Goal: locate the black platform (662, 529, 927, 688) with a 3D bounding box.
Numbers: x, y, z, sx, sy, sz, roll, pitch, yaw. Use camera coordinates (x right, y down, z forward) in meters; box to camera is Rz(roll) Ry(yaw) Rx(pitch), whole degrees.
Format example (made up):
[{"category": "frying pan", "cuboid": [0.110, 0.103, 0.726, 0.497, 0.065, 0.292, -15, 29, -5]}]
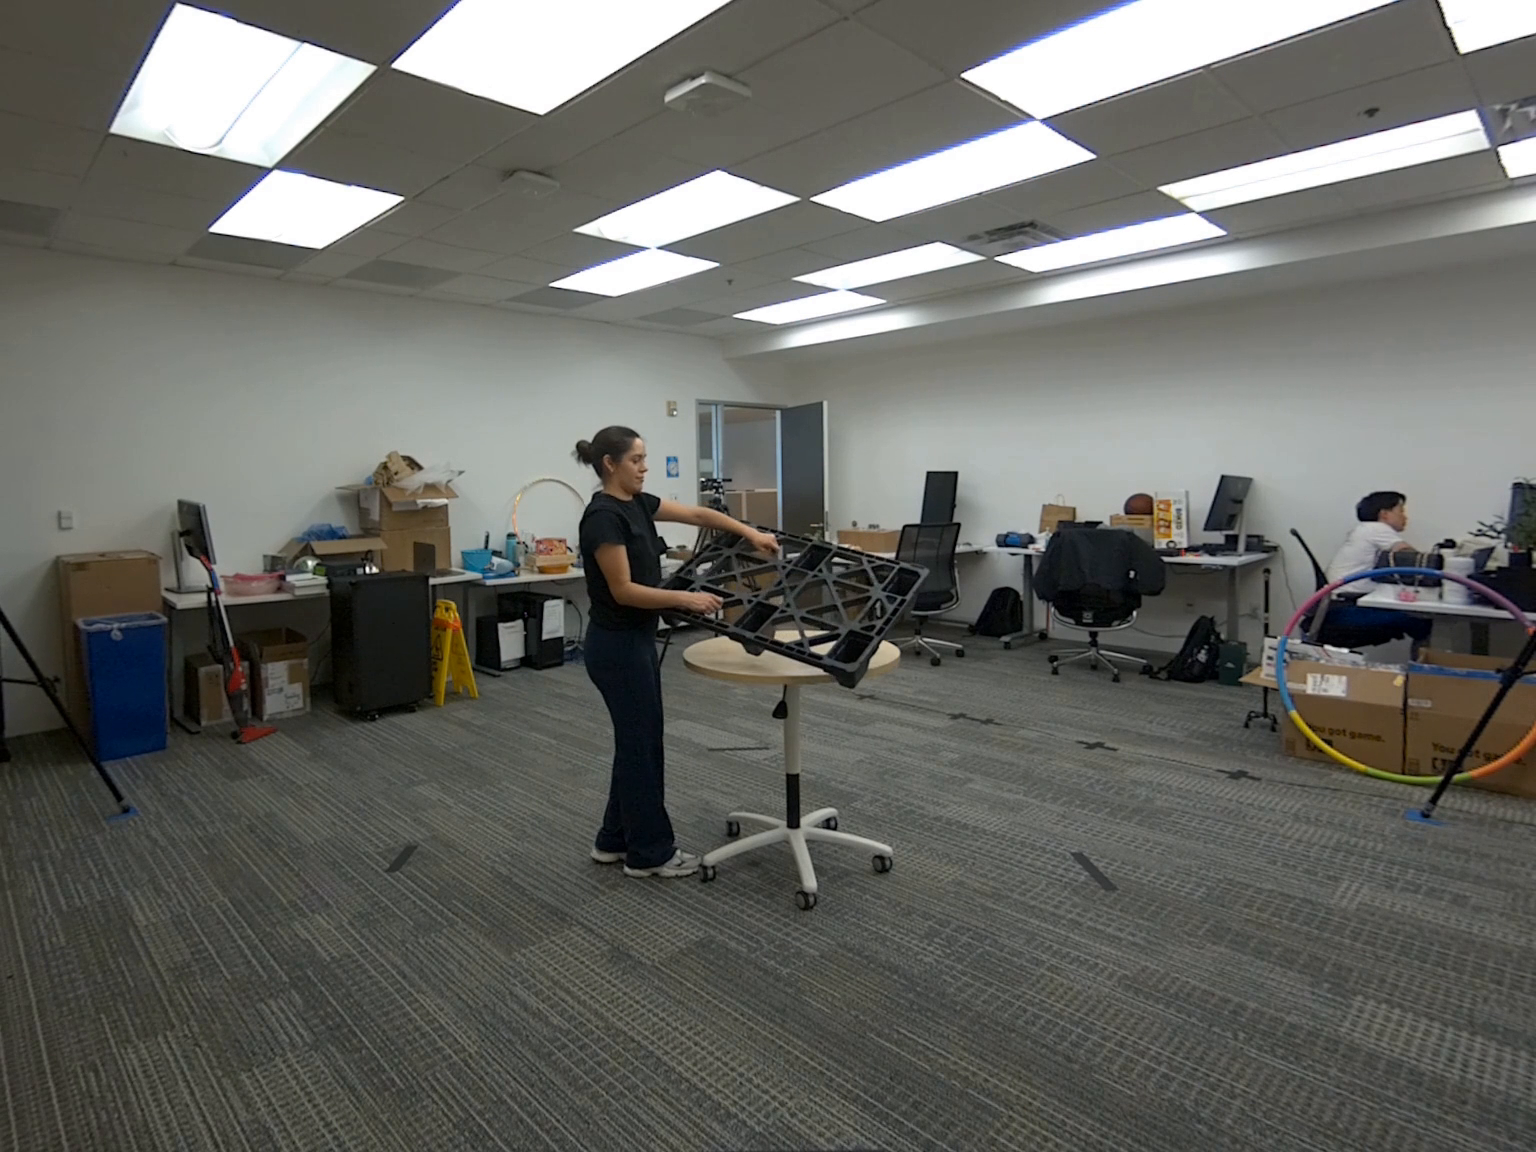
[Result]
[{"category": "black platform", "cuboid": [0.060, 0.080, 2.937, 0.831, 0.139, 0.603, 16, 39, 30]}]
